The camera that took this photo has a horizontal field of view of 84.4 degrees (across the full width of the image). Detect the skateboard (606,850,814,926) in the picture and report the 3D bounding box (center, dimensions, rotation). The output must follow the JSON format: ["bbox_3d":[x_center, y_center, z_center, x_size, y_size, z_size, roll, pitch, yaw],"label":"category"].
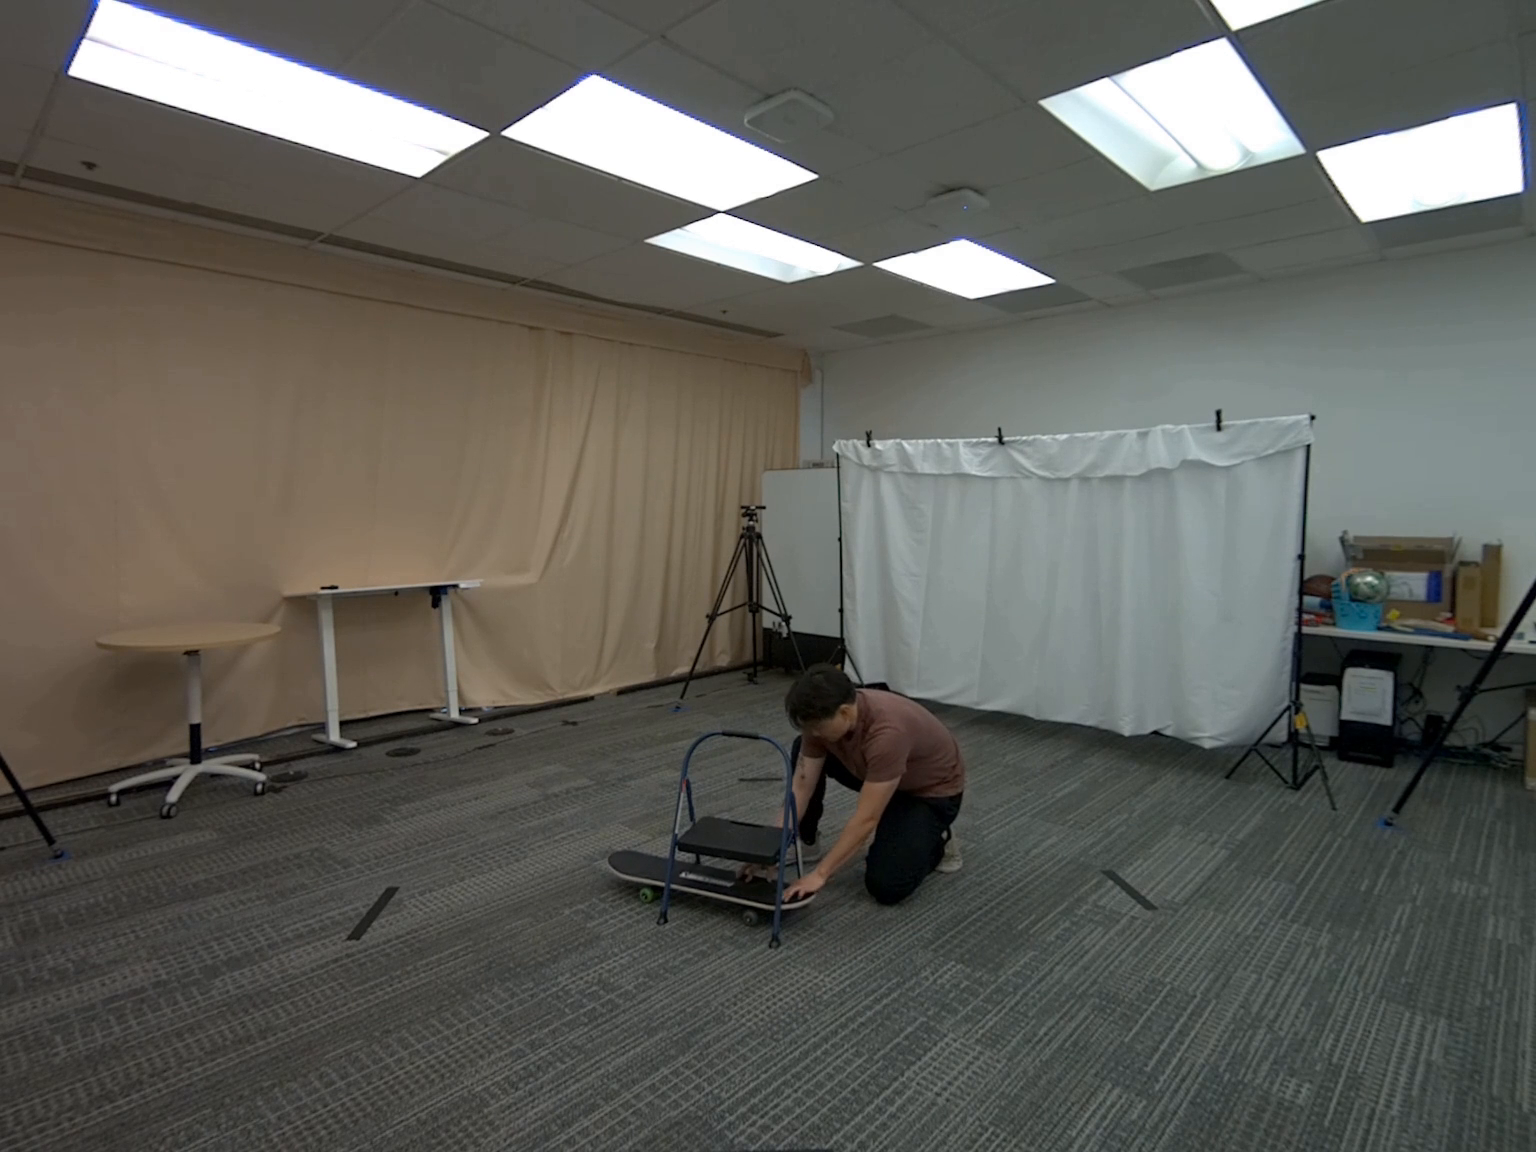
[{"bbox_3d":[-0.211,1.092,2.948,0.804,0.110,0.189,1,4,23],"label":"skateboard"}]
